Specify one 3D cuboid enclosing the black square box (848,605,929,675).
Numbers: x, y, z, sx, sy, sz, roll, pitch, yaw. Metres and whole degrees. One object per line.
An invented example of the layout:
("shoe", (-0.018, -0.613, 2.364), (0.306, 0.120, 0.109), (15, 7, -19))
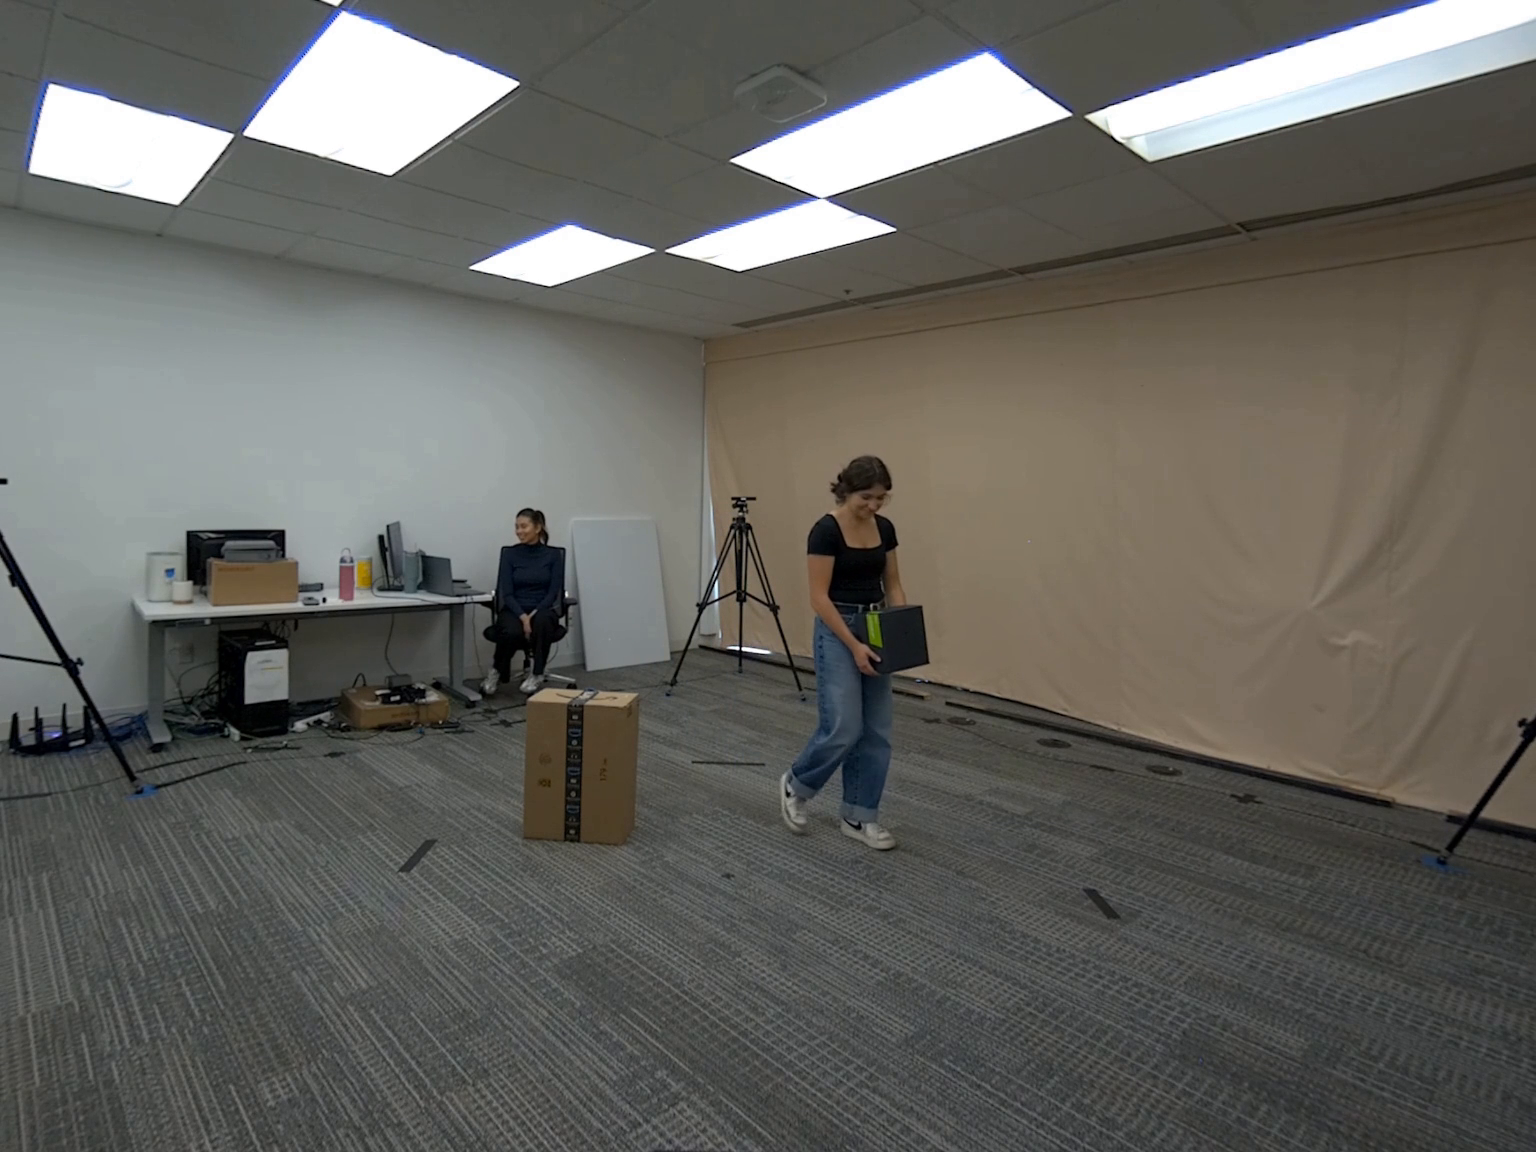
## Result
("black square box", (0.463, 0.240, 3.256), (0.213, 0.227, 0.159), (-8, 2, -32))
